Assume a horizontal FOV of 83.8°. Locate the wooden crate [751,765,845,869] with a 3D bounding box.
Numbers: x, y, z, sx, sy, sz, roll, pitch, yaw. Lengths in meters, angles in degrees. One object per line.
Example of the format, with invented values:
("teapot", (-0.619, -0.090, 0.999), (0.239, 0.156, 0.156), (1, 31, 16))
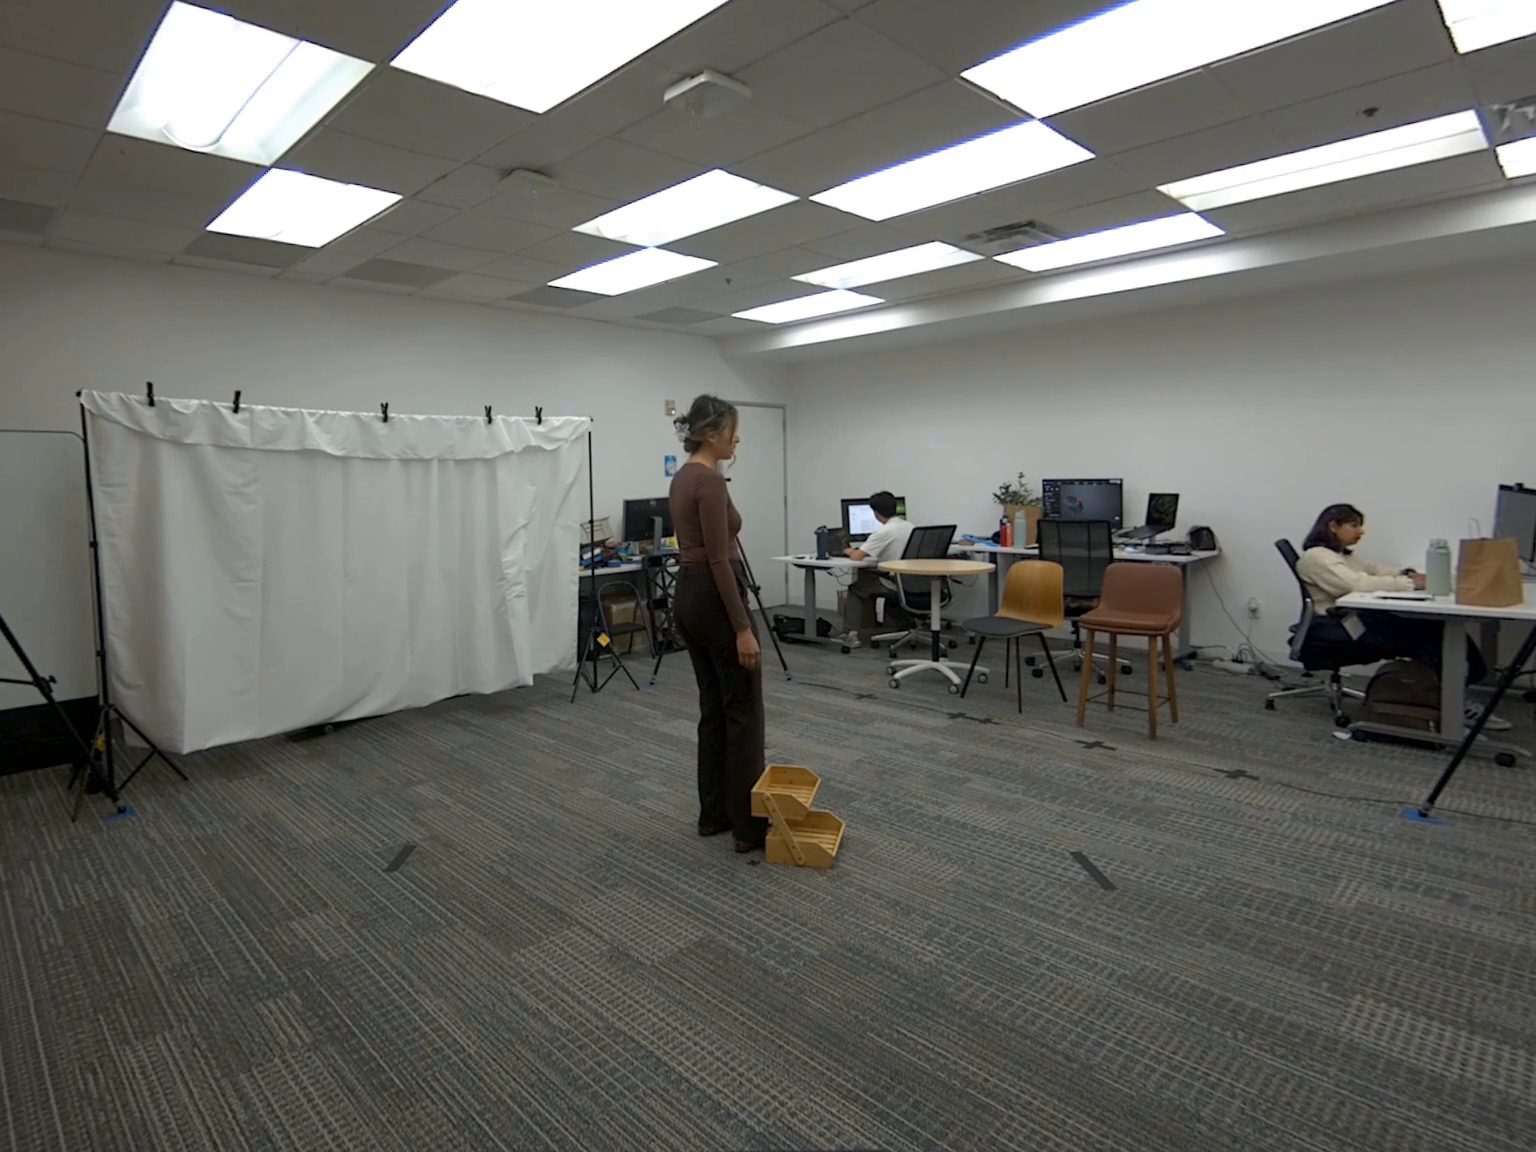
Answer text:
("wooden crate", (0.130, 0.891, 3.216), (0.306, 0.272, 0.321), (0, 4, 15))
